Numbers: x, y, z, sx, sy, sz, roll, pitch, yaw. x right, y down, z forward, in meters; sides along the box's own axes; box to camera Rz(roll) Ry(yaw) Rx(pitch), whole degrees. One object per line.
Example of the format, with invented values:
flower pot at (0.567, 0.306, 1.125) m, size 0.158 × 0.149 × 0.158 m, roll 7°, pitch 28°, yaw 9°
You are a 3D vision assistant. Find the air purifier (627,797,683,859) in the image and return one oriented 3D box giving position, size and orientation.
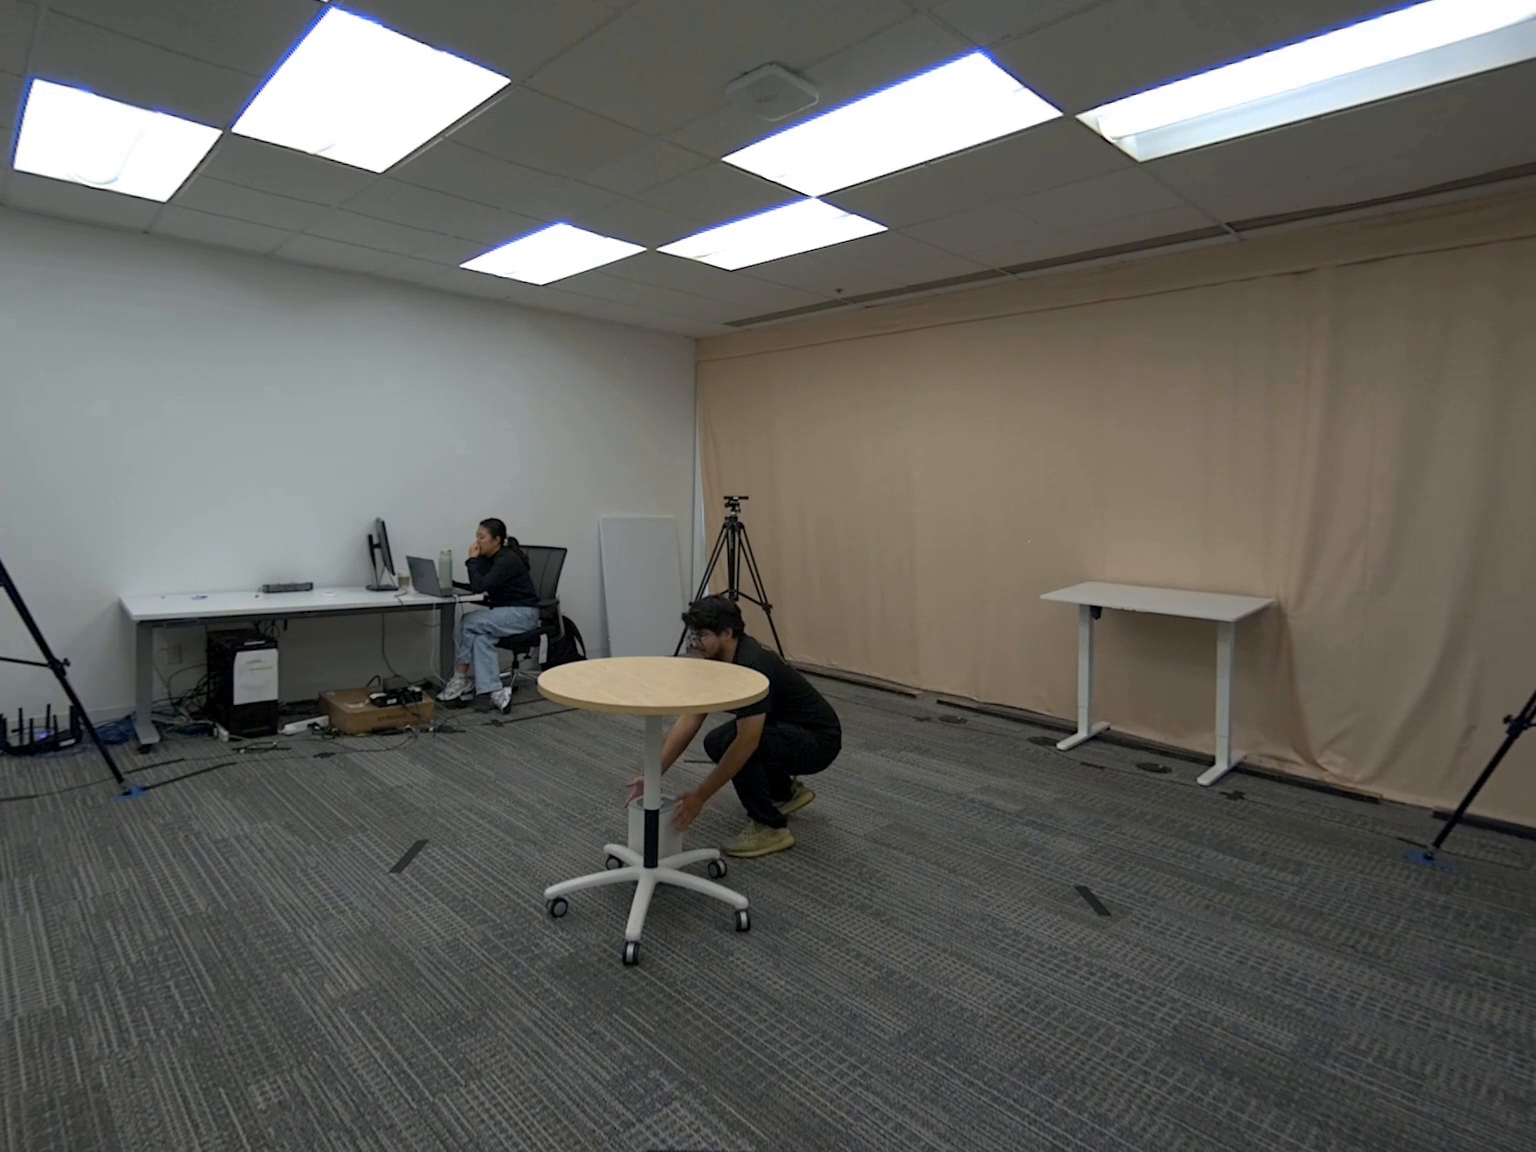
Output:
air purifier at (-0.424, 0.967, 3.106) m, size 0.175 × 0.264 × 0.168 m, roll 3°, pitch 6°, yaw 33°
